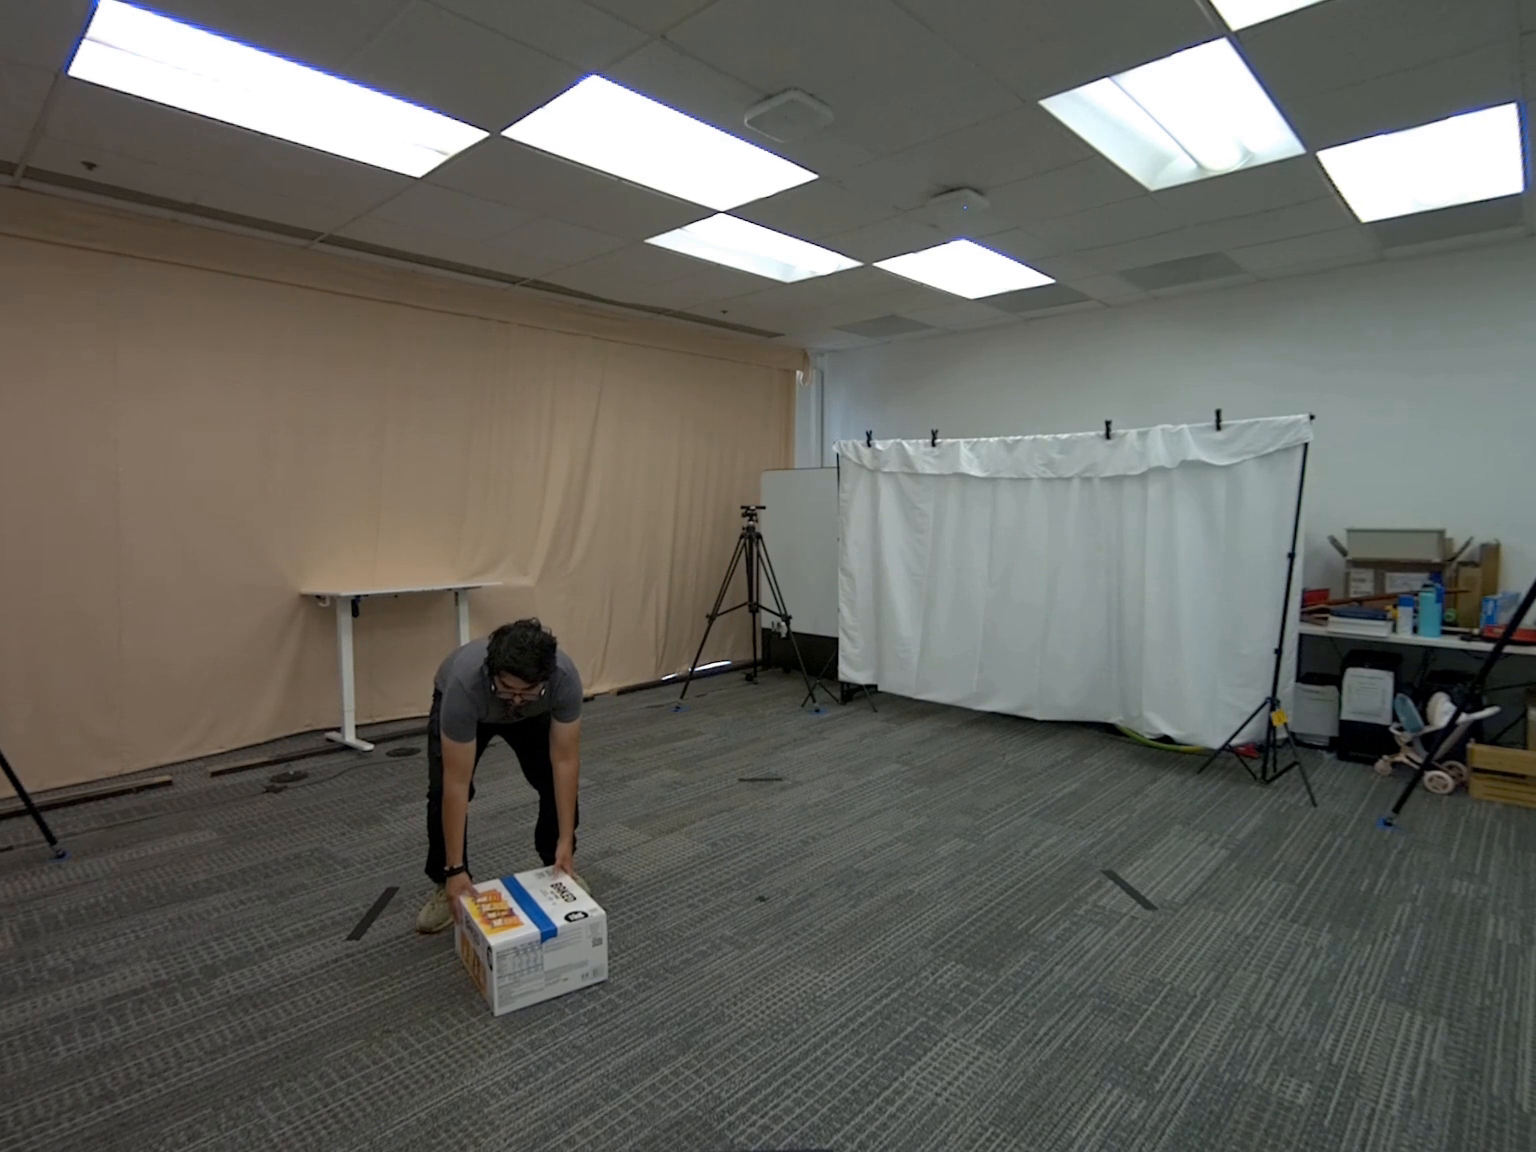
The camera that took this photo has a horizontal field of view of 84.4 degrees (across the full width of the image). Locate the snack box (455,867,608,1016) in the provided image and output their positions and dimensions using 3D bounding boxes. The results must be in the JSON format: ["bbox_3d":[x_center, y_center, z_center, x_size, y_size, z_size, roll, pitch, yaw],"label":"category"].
[{"bbox_3d":[-0.723,1.083,2.539,0.331,0.205,0.418,-4,6,-33],"label":"snack box"}]
